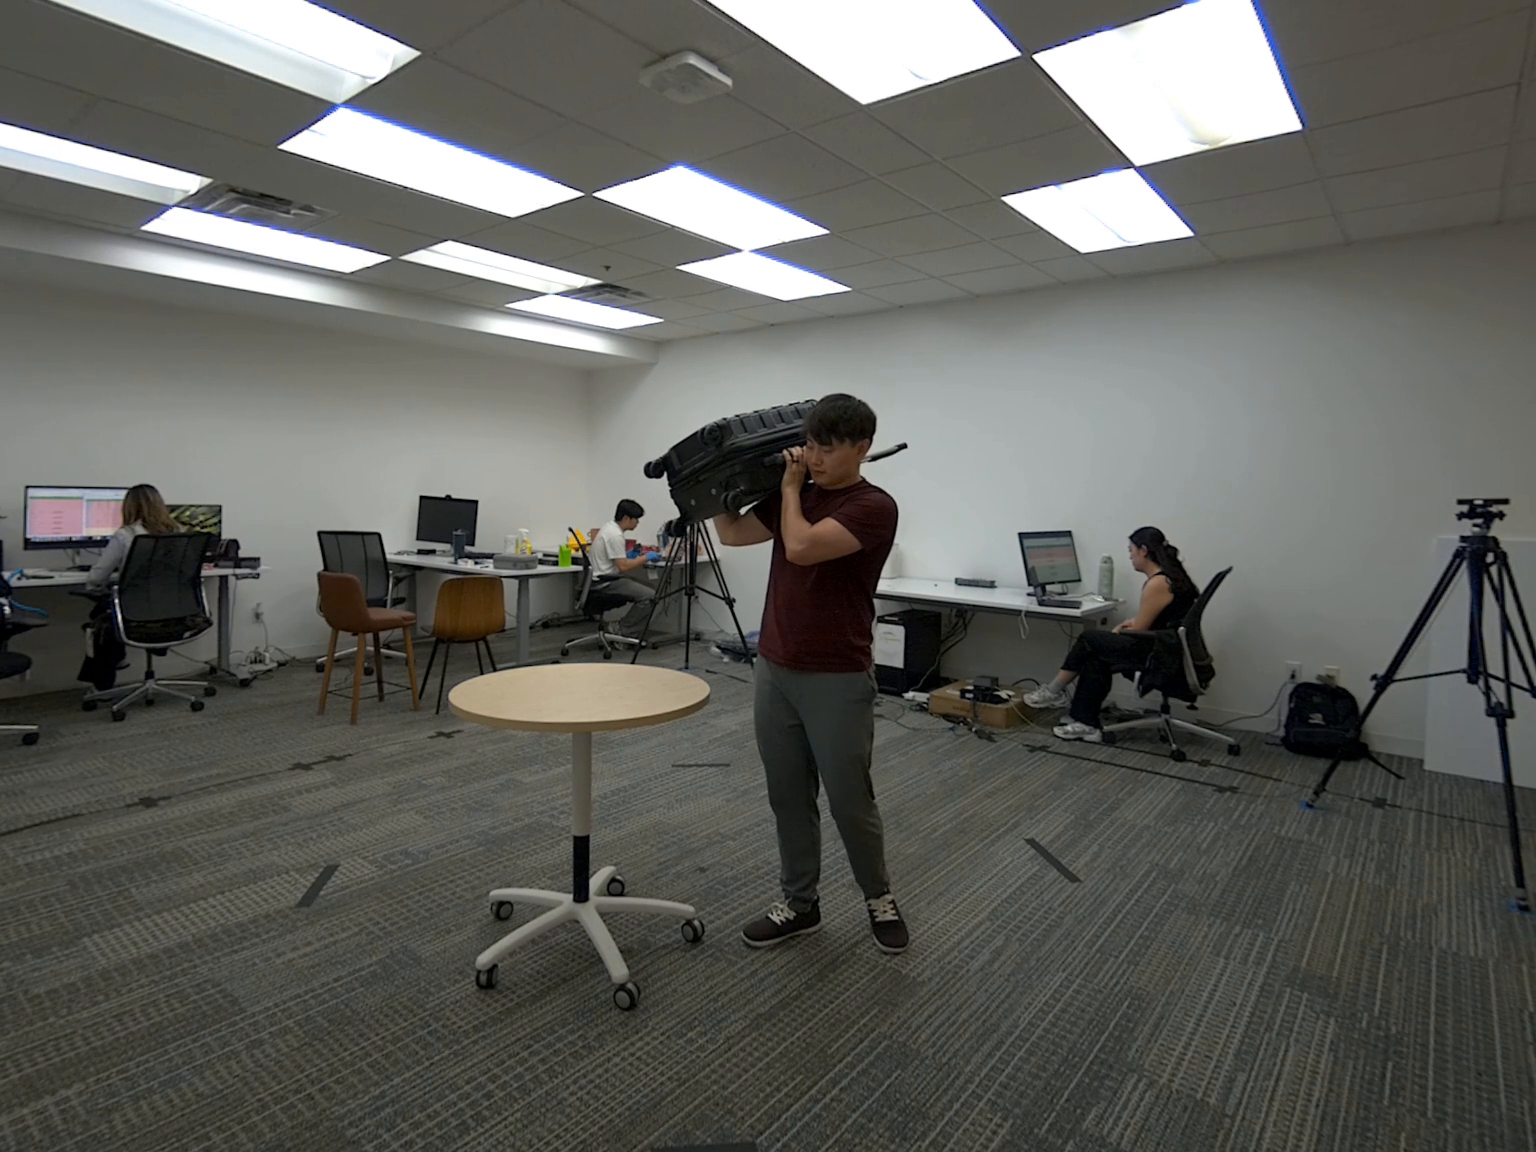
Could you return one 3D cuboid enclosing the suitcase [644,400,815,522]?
[{"bbox_3d":[0.068,-0.427,2.814,0.961,0.257,0.391,-25,3,-41],"label":"suitcase"}]
